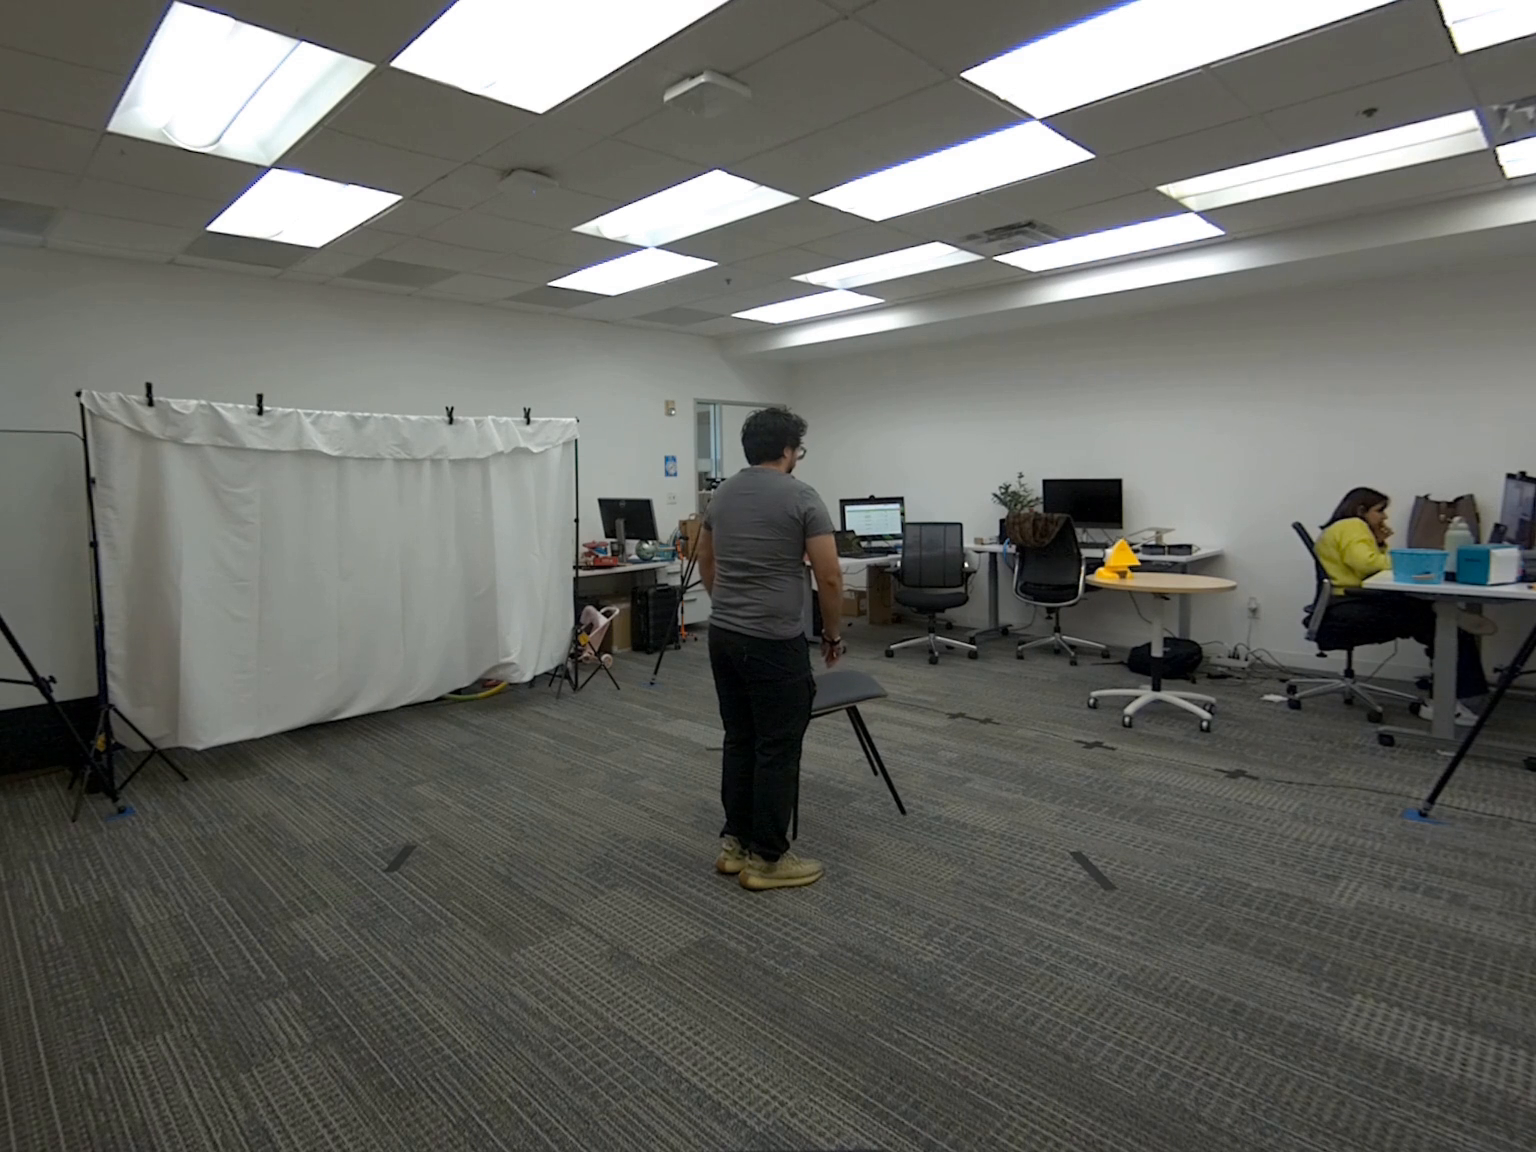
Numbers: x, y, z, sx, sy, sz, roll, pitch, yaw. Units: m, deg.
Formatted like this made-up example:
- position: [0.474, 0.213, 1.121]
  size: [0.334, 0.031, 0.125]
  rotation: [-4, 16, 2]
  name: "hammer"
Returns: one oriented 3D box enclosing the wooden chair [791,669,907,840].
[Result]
- position: [0.211, 0.530, 3.490]
  size: [0.522, 0.873, 0.481]
  rotation: [-16, 5, -3]
  name: "wooden chair"
